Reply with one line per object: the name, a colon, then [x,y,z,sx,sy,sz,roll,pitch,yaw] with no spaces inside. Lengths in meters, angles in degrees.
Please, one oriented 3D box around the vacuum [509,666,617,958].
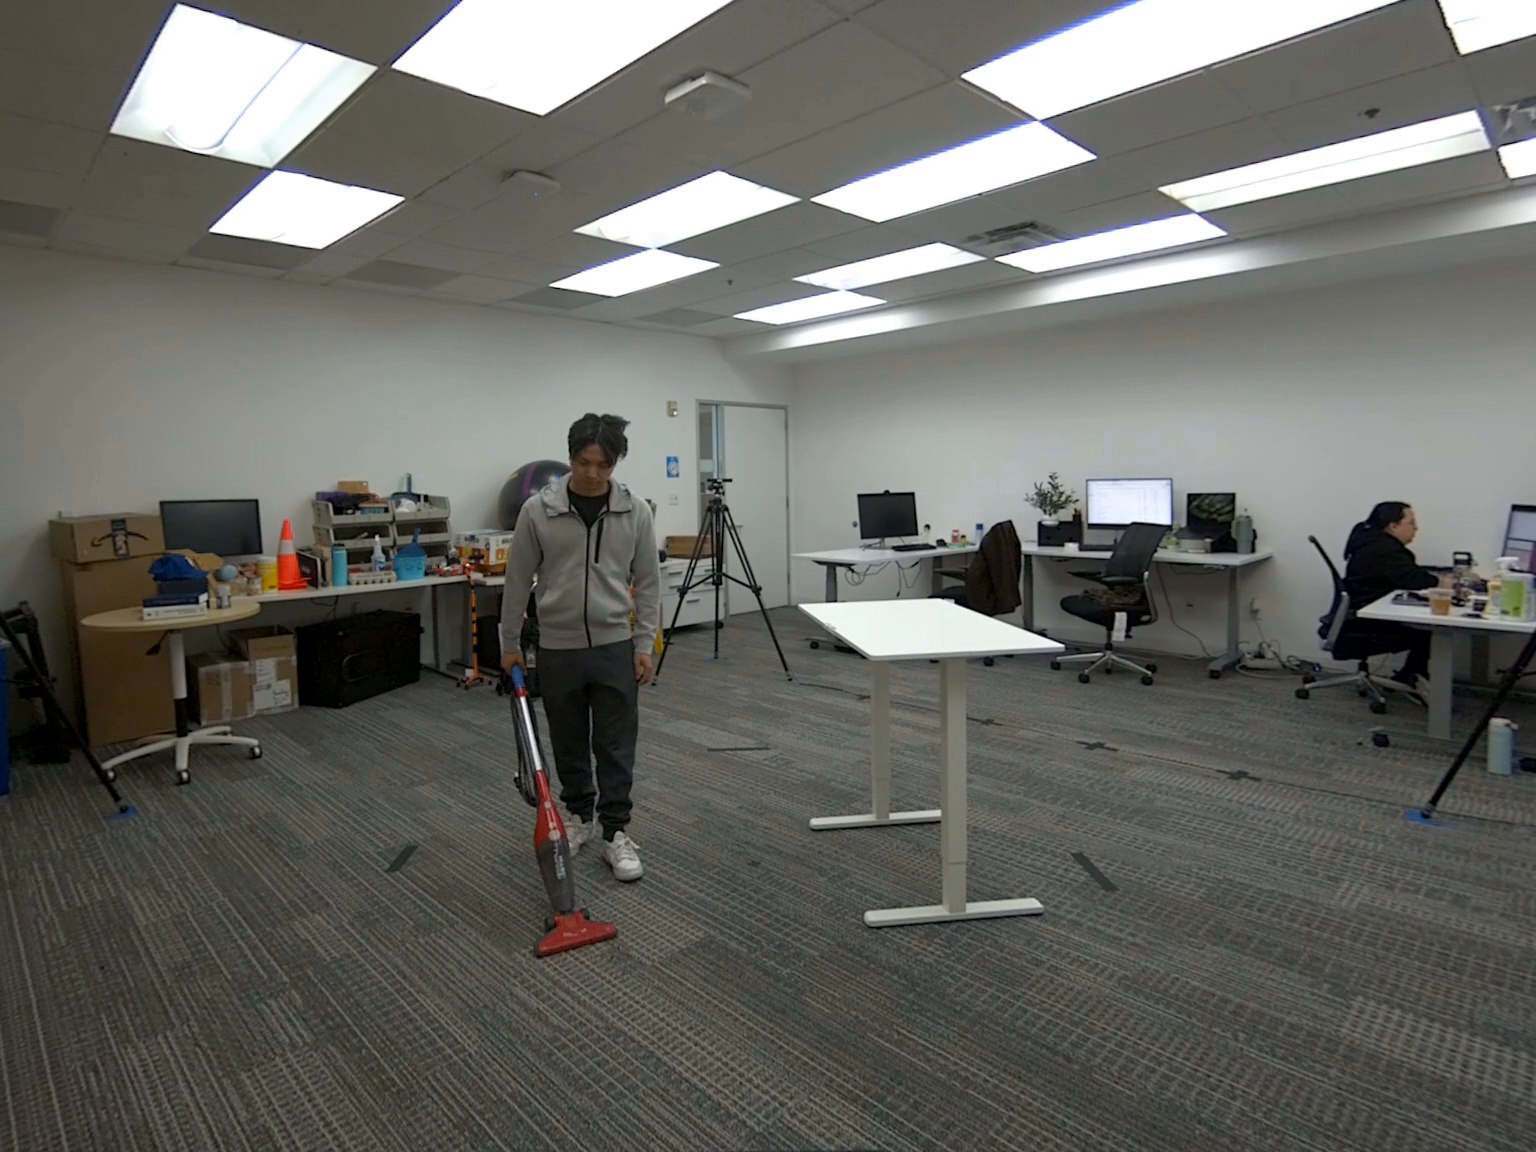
vacuum: [-0.788,0.706,2.926,0.247,0.142,1.087,-8,51,-26]
